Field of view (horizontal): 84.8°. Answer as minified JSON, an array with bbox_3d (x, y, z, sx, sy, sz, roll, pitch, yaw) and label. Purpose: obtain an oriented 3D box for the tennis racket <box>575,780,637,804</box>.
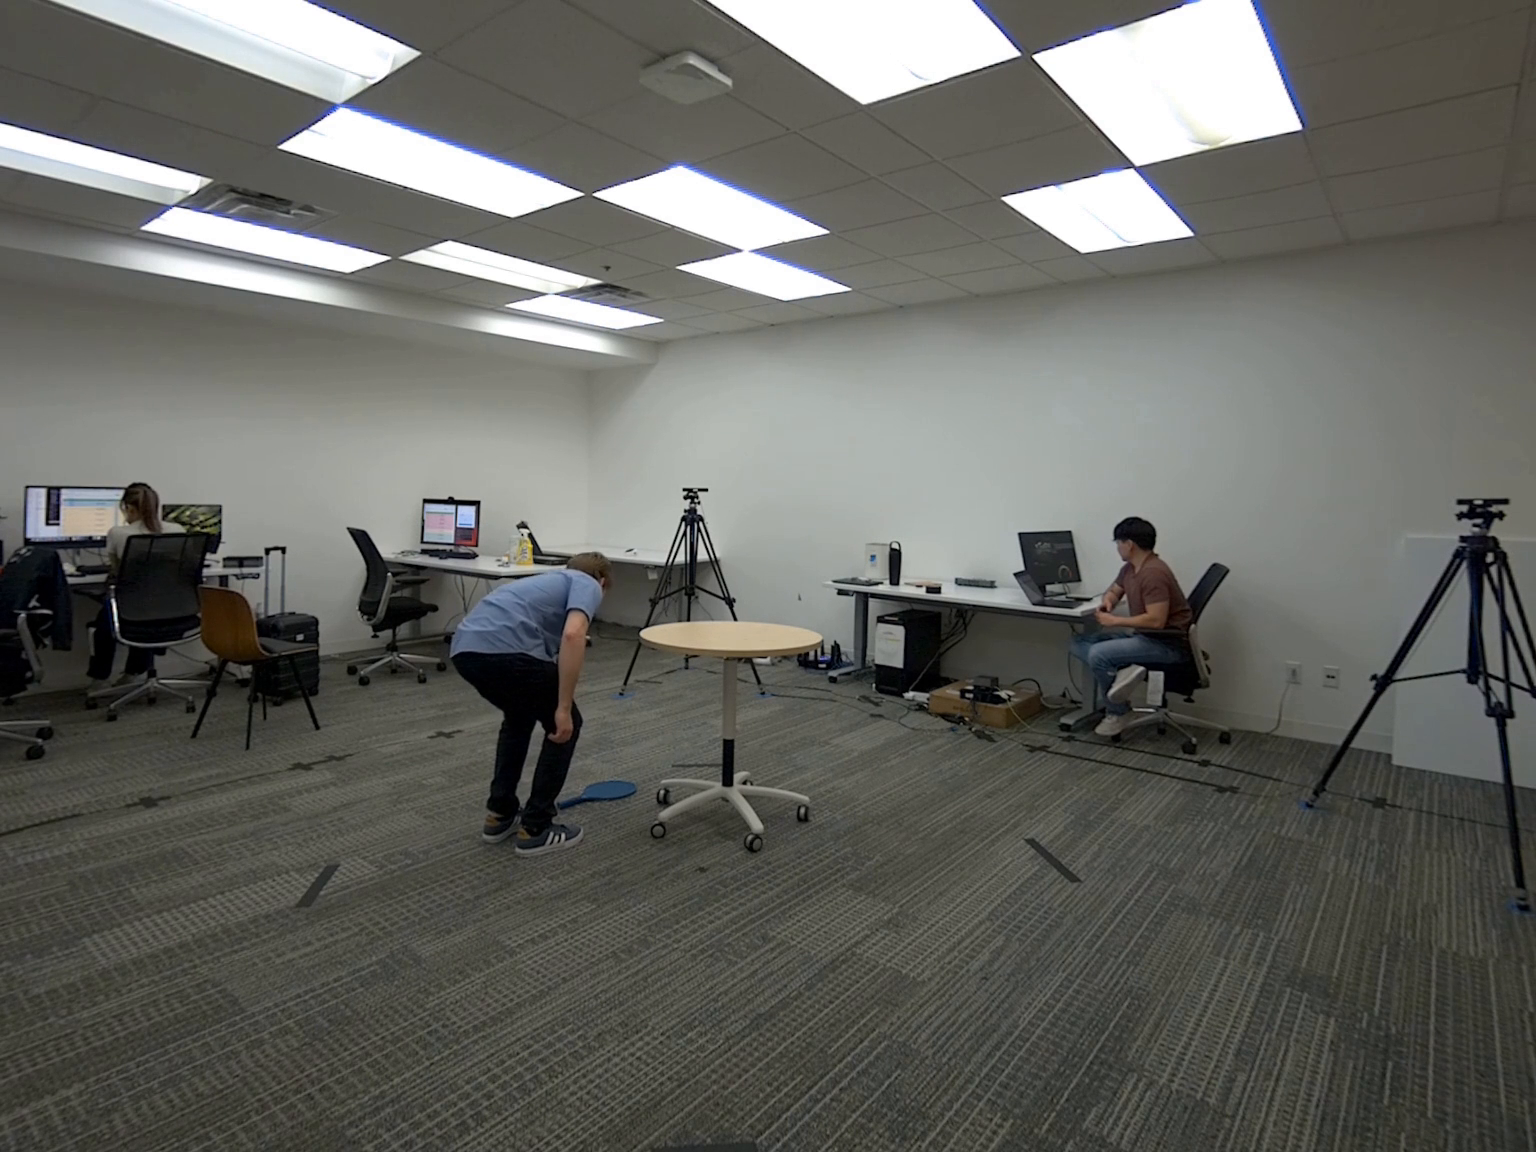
[{"bbox_3d":[-0.788,0.981,3.834,0.221,0.031,0.420,6,6,38],"label":"tennis racket"}]
